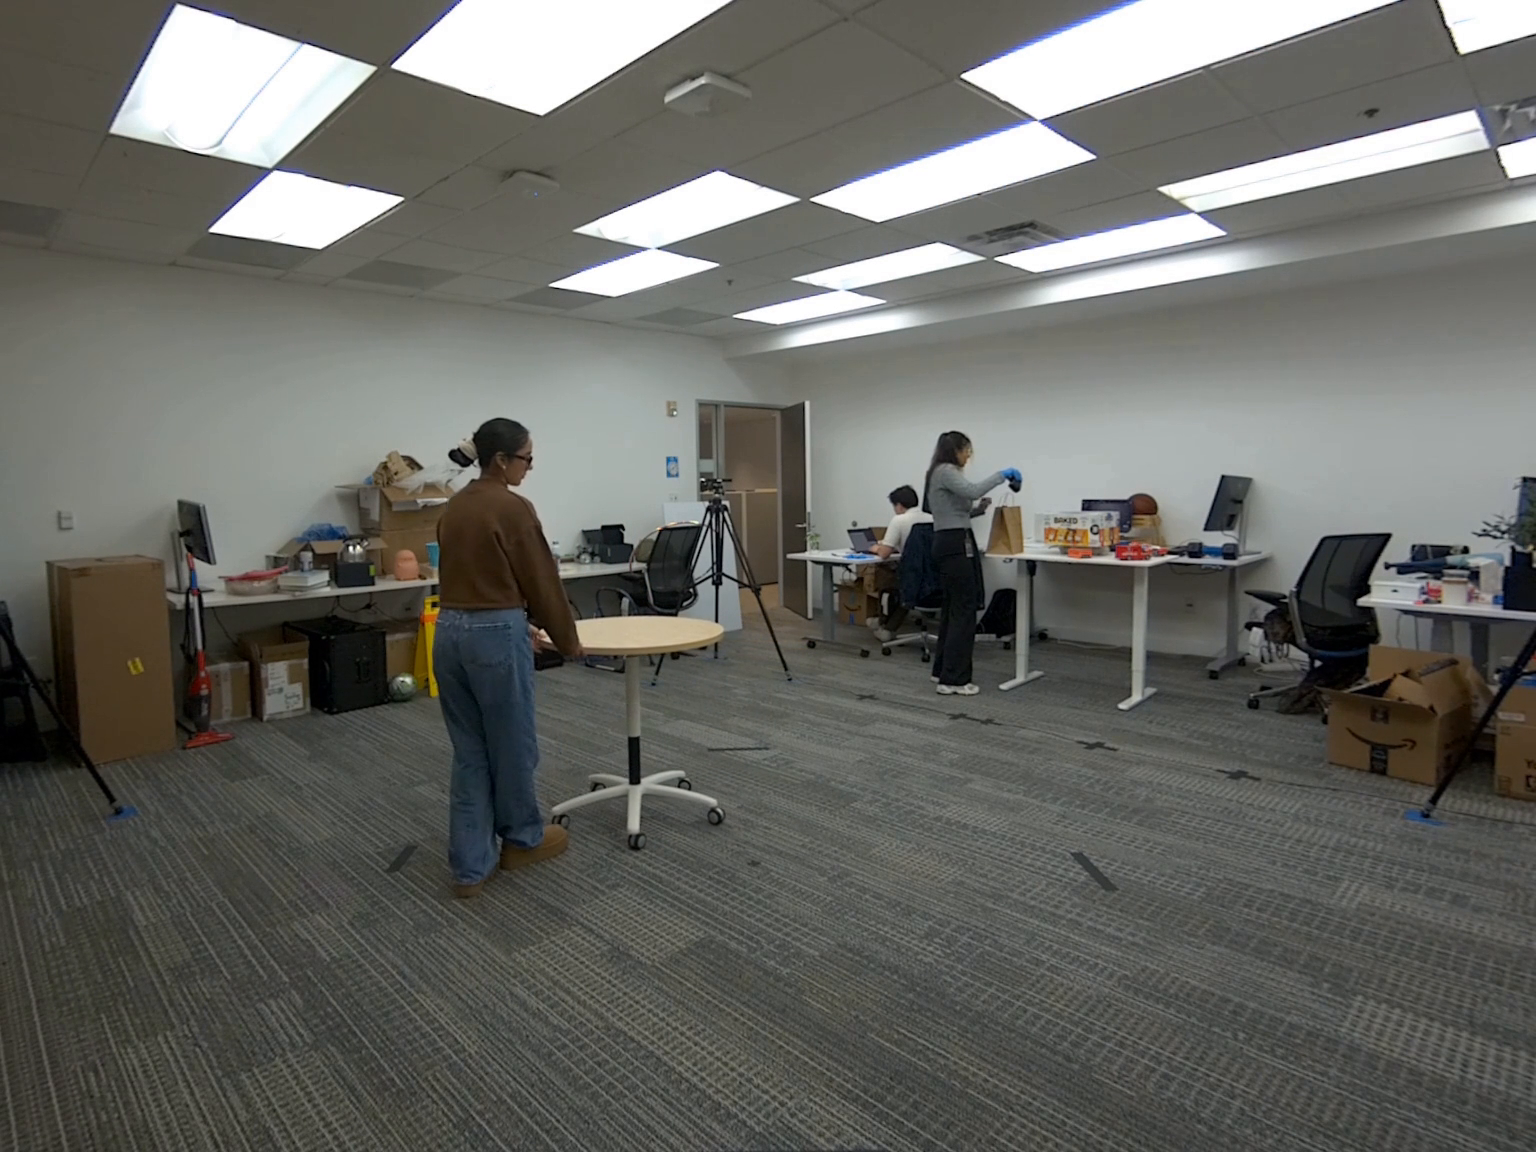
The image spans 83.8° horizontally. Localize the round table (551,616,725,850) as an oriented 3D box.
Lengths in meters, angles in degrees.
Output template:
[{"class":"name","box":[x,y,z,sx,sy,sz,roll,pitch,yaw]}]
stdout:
[{"class":"round table","box":[-0.555,0.618,3.542,0.763,0.791,0.767,-1,4,-2]}]
